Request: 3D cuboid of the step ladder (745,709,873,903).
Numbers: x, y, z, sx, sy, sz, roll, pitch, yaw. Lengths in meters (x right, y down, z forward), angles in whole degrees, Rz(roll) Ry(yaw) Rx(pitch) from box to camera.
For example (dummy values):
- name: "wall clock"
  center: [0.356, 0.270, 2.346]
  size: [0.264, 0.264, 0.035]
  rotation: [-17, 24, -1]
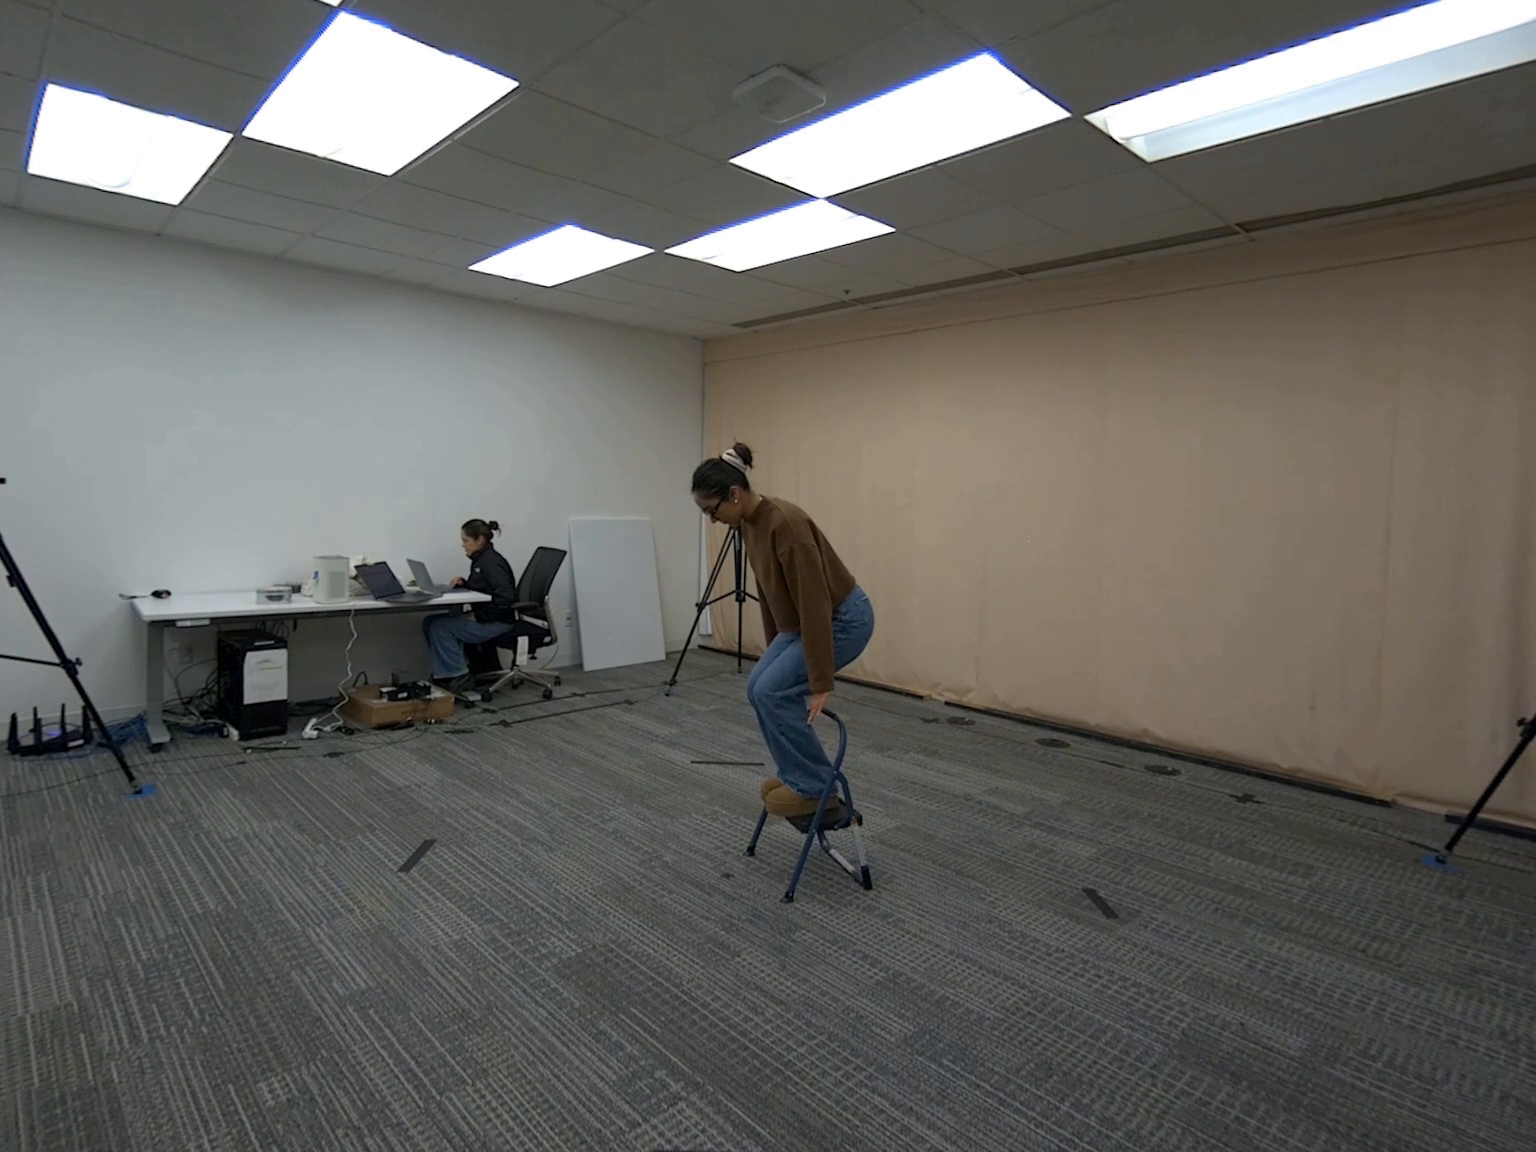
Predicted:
- name: "step ladder"
  center: [0.147, 0.811, 3.140]
  size: [0.344, 0.605, 0.438]
  rotation: [0, 4, -21]
